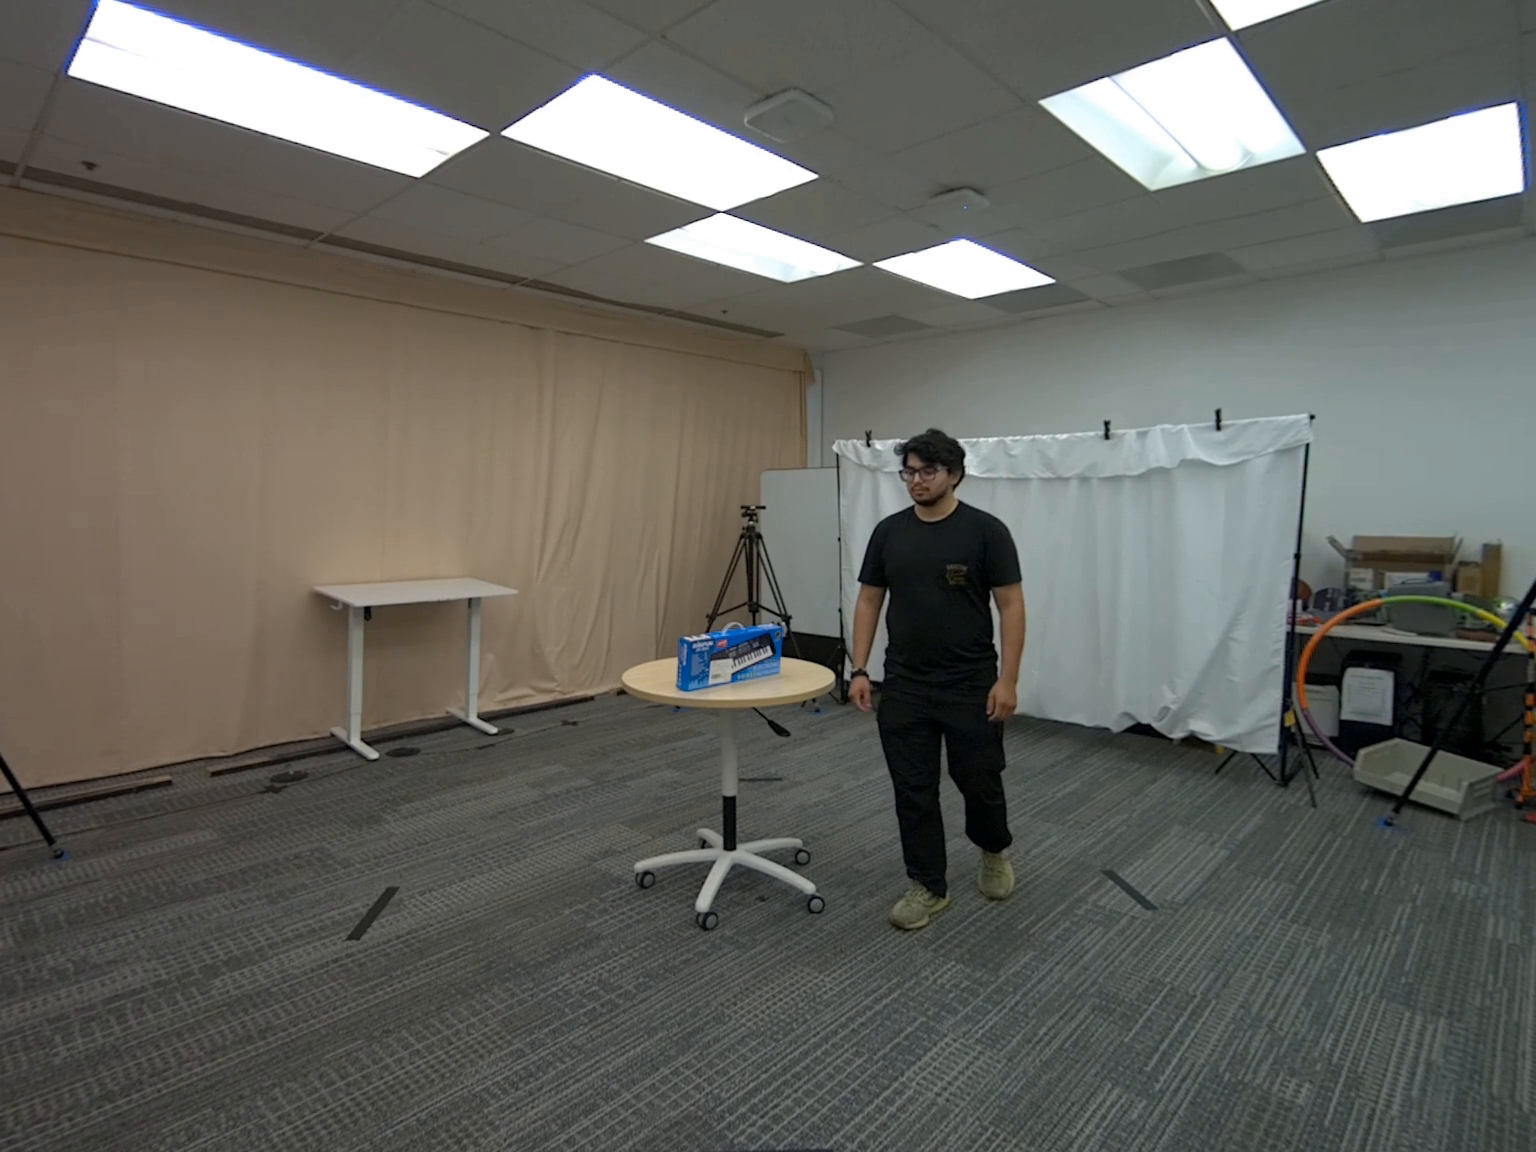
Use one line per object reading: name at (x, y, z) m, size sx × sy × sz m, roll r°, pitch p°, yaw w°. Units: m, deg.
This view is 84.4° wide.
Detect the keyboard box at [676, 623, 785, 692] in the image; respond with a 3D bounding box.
keyboard box at (-0.124, 0.283, 2.924) m, size 0.424 × 0.175 × 0.061 m, roll -5°, pitch 12°, yaw -42°
